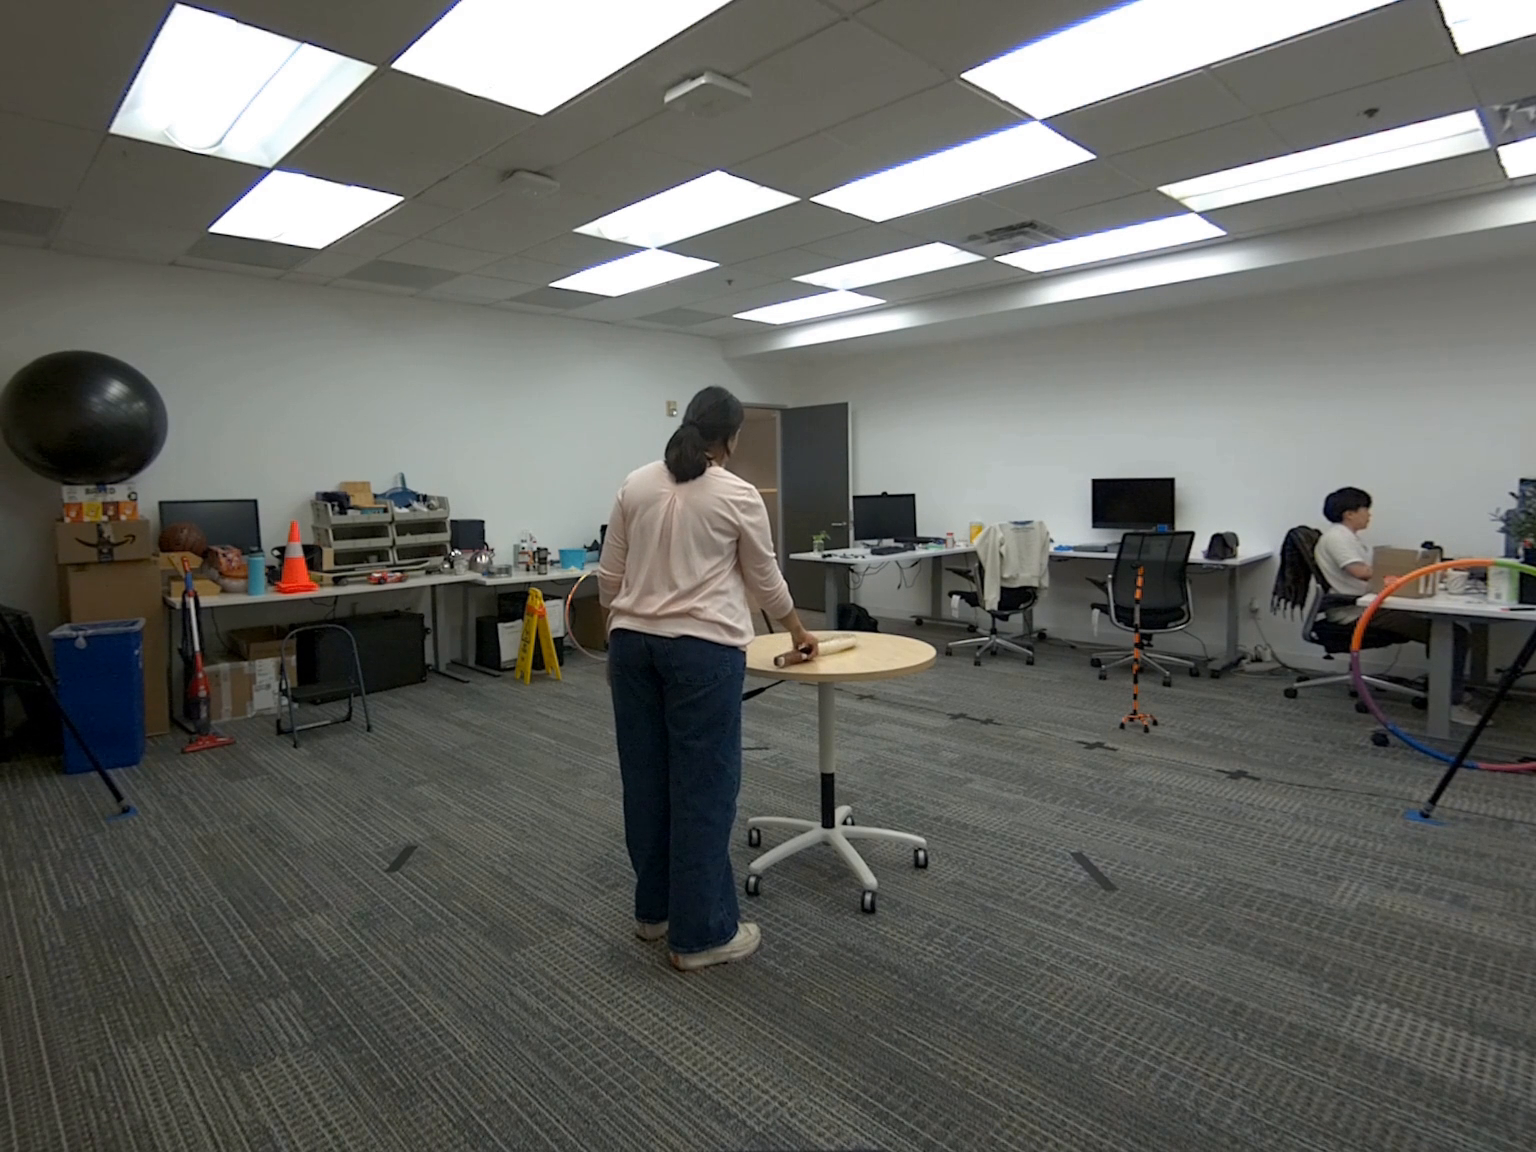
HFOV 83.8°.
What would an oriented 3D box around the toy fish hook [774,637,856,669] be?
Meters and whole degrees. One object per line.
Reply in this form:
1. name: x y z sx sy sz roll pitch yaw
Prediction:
1. toy fish hook: 0.131 0.252 2.977 0.231 0.048 0.493 -2 3 38
